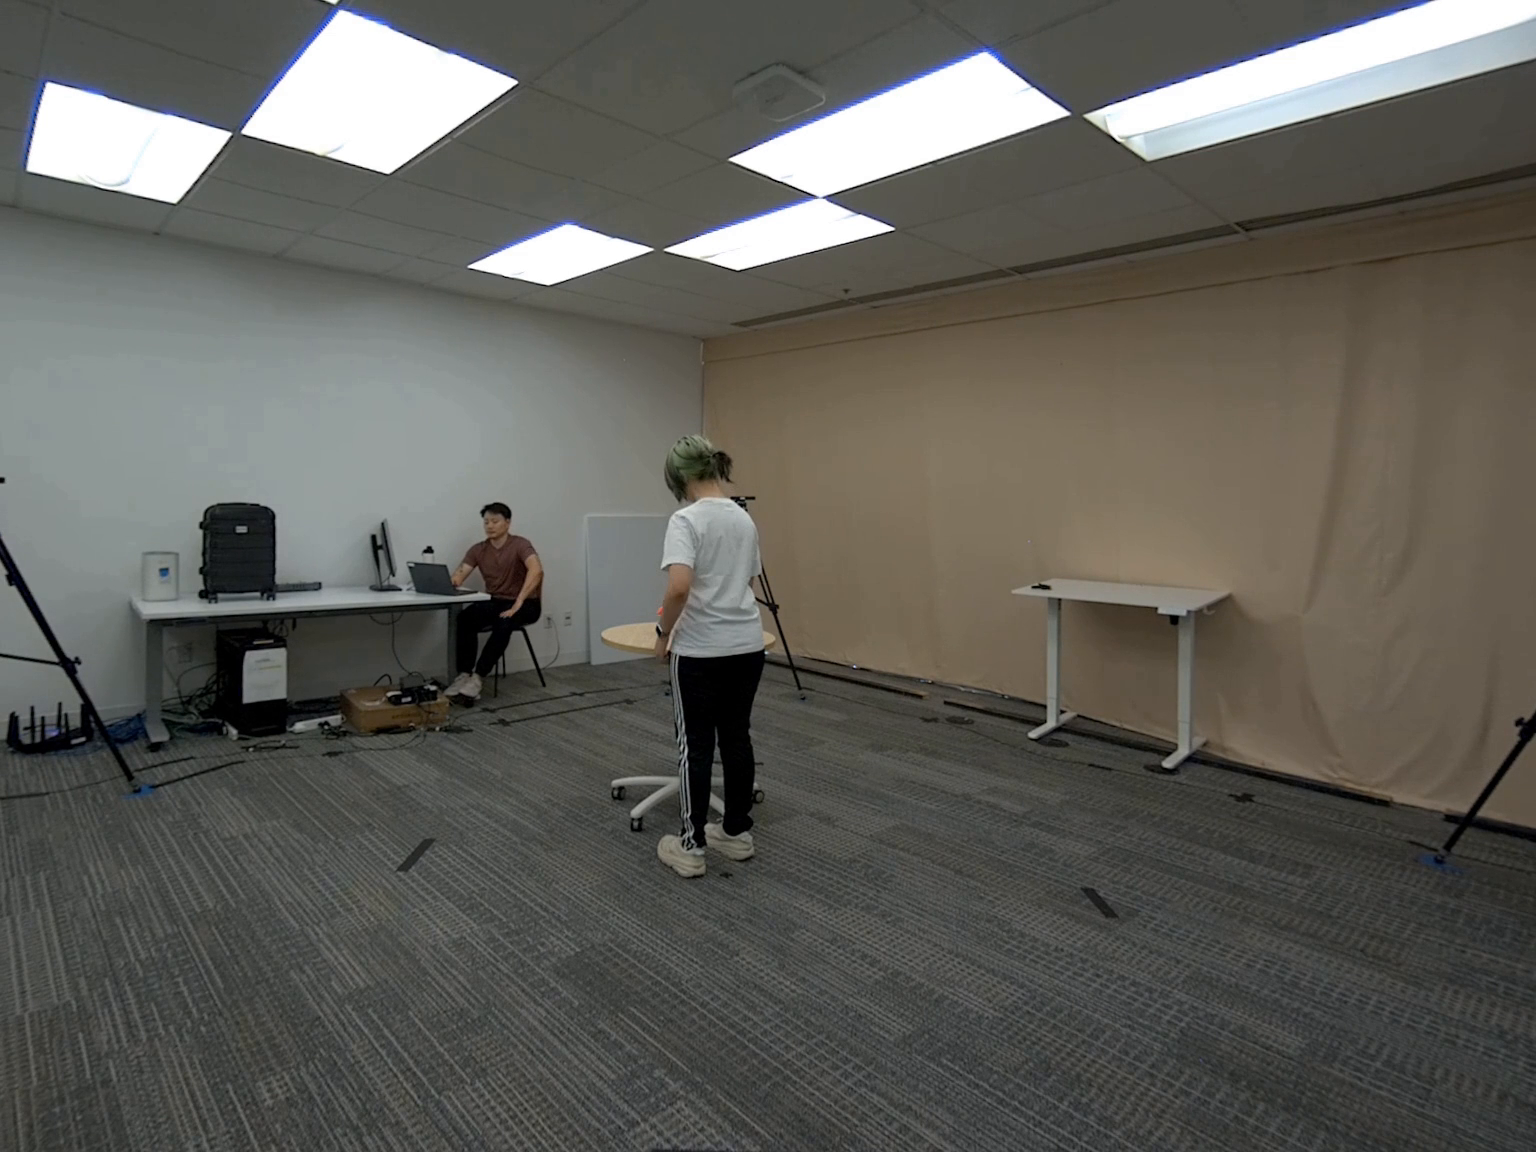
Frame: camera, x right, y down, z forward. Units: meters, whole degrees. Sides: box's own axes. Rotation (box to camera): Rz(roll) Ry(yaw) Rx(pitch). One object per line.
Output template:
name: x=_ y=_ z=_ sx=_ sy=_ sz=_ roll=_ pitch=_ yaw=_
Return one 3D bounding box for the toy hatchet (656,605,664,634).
toy hatchet: x=-0.357 y=0.167 z=3.679 sx=0.273 sy=0.029 sz=0.131 roll=12 pitch=21 yaw=10
